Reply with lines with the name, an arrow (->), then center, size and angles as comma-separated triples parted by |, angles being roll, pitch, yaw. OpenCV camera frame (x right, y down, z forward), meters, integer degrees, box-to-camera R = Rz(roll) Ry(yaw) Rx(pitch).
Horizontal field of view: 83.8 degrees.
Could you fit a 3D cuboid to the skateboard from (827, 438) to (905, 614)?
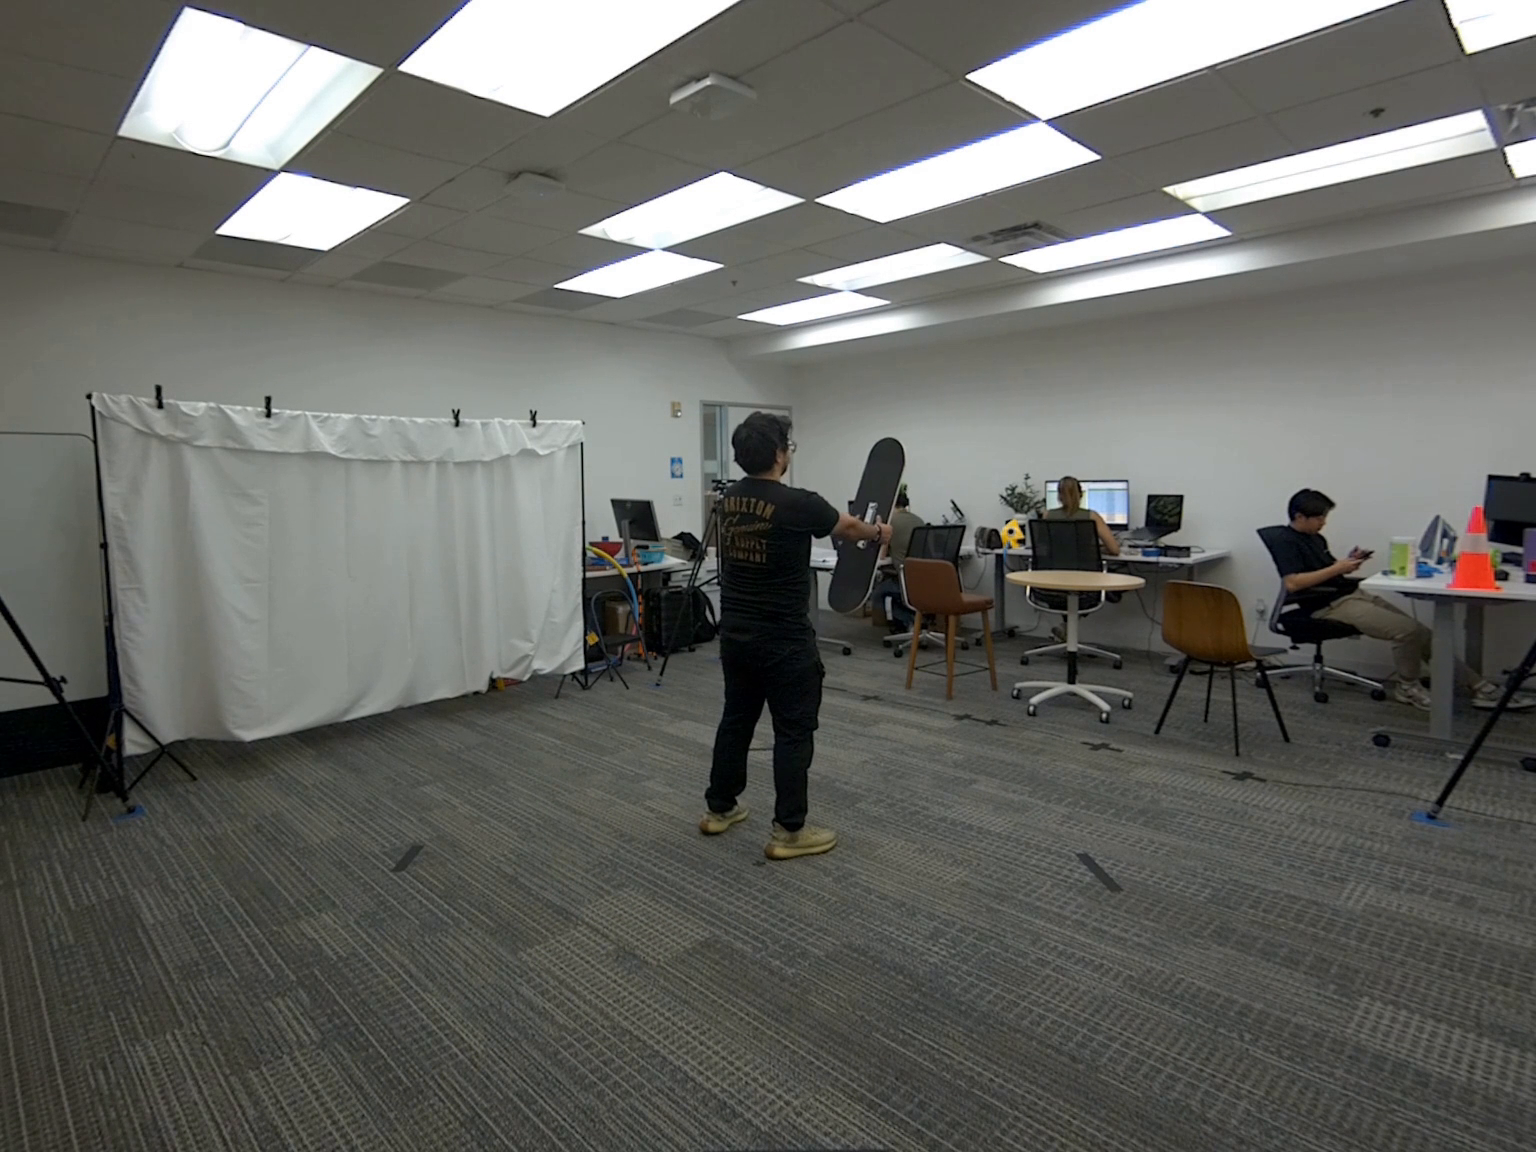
skateboard -> 0.437, -0.206, 3.641 | 0.200, 0.790, 0.106 | 8, -13, 38
